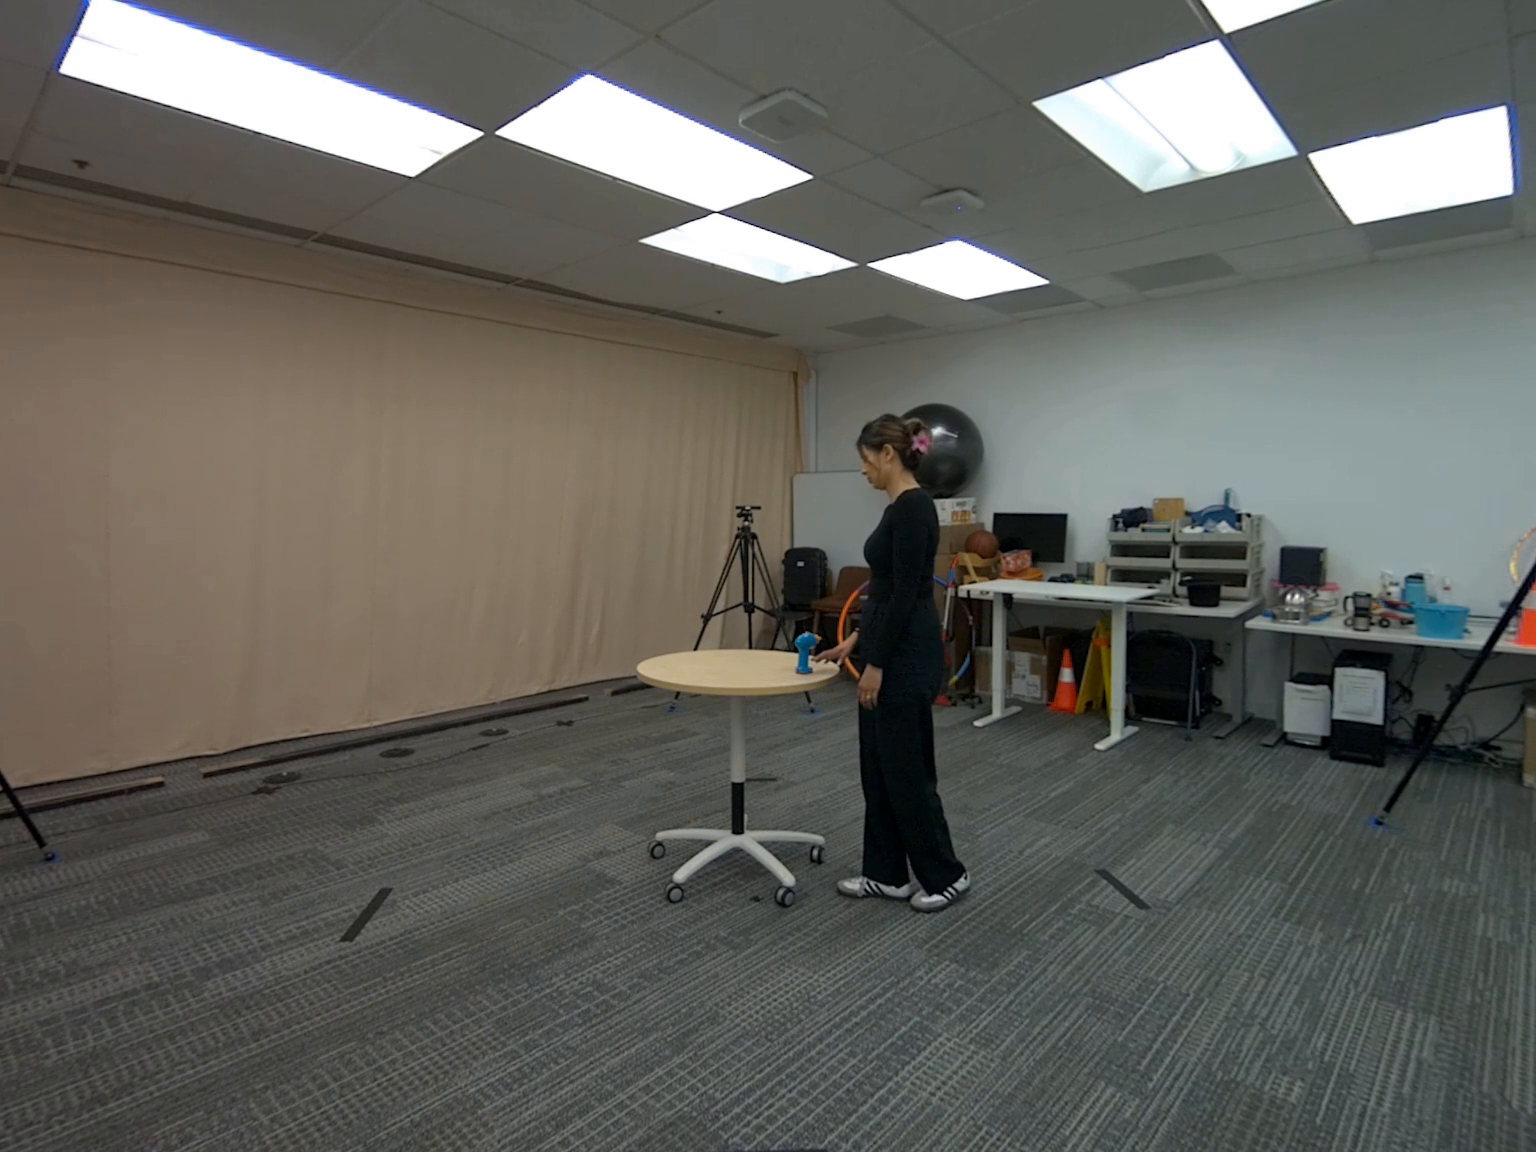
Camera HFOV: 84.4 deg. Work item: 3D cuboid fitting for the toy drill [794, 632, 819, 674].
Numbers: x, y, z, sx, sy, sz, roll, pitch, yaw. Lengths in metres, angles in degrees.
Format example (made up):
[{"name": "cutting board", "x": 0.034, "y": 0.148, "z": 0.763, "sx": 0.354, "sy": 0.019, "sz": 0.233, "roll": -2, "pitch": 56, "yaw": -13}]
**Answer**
[{"name": "toy drill", "x": 0.167, "y": 0.285, "z": 3.105, "sx": 0.063, "sy": 0.146, "sz": 0.165, "roll": 3, "pitch": 3, "yaw": 33}]
